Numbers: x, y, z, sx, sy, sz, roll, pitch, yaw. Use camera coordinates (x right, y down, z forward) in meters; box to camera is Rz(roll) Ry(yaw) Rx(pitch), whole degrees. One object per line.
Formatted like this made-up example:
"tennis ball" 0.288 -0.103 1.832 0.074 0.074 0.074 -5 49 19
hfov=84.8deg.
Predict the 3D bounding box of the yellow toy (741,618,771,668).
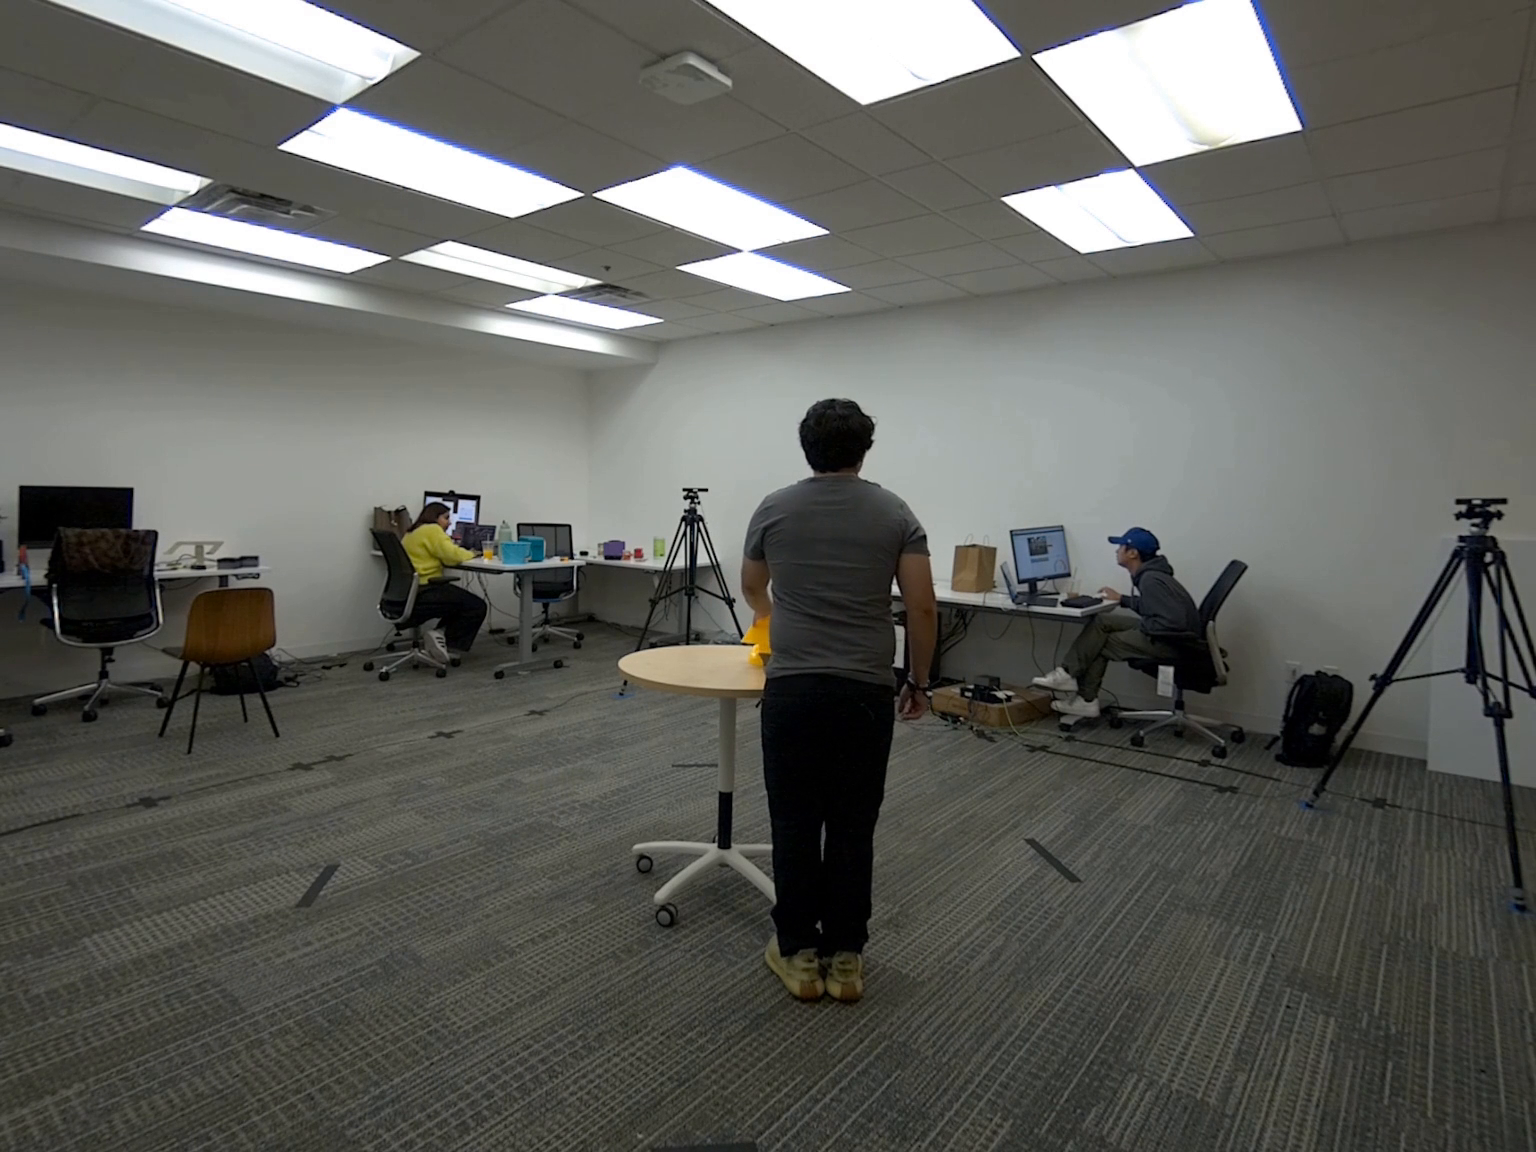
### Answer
"yellow toy" 0.022 0.192 2.984 0.210 0.230 0.189 4 4 22
